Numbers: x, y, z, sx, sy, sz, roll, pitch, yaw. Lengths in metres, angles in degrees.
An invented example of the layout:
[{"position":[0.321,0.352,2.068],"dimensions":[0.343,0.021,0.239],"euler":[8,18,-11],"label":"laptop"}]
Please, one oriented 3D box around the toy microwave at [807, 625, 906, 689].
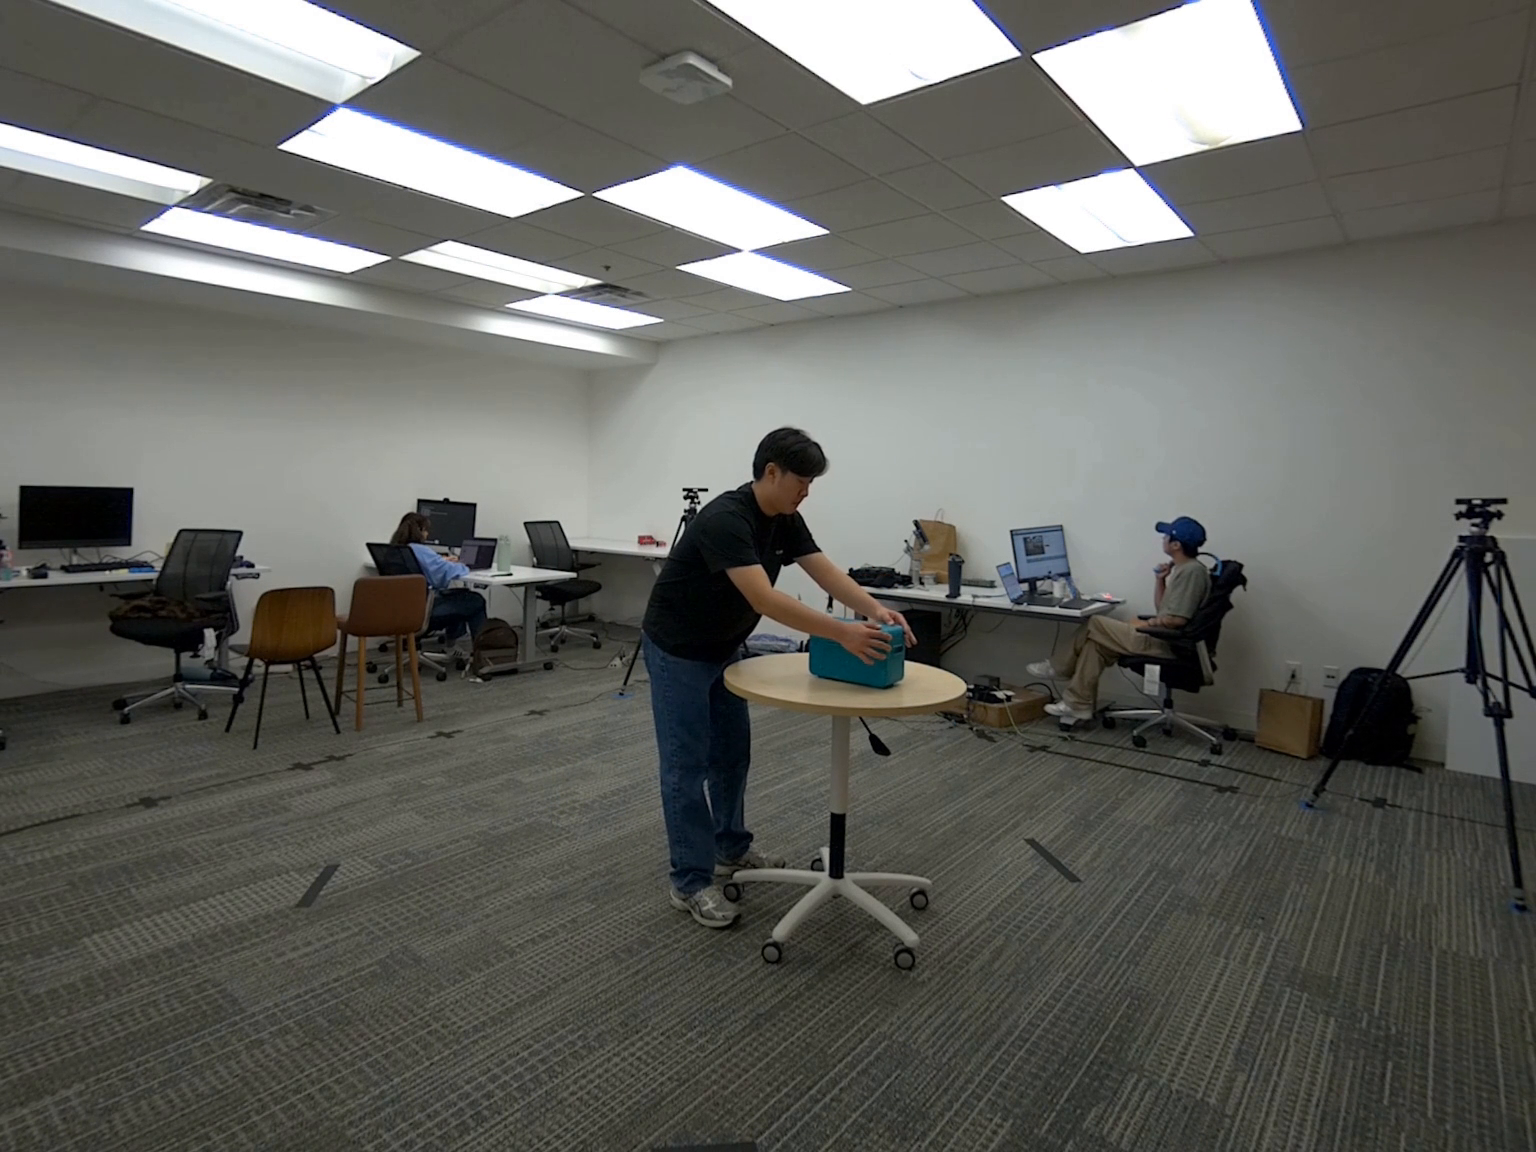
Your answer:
[{"position":[0.282,0.235,2.687],"dimensions":[0.296,0.183,0.148],"euler":[5,5,38],"label":"toy microwave"}]
